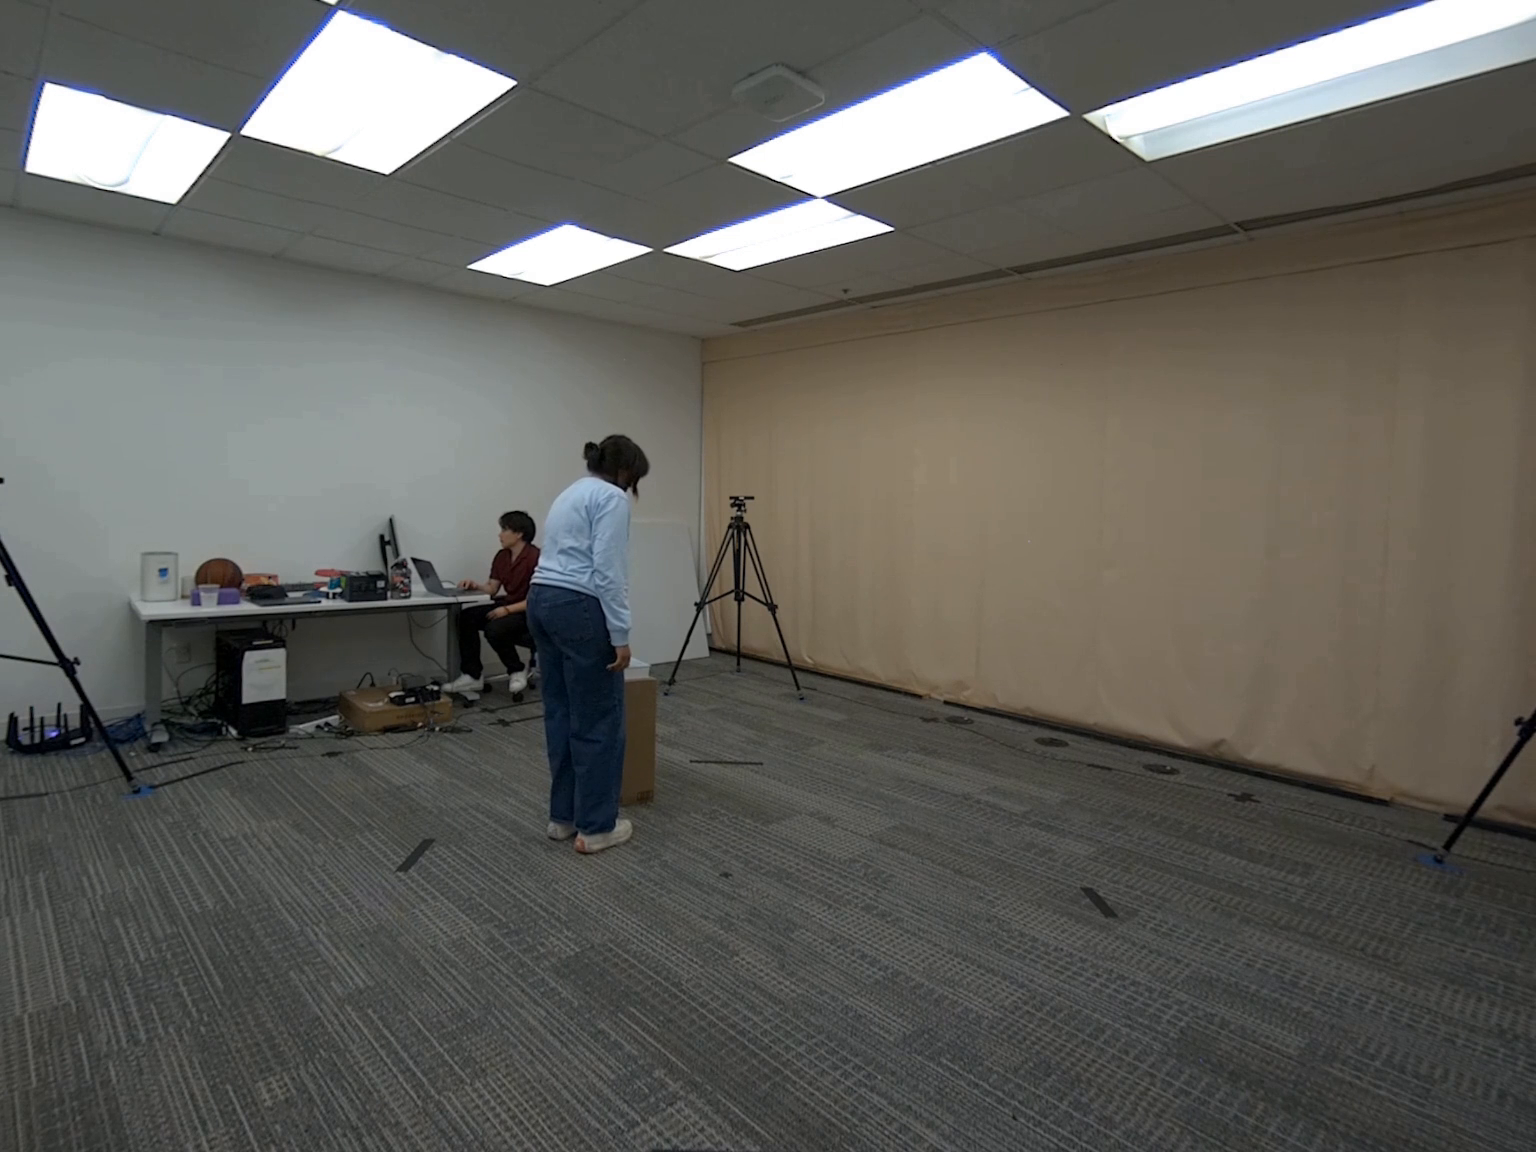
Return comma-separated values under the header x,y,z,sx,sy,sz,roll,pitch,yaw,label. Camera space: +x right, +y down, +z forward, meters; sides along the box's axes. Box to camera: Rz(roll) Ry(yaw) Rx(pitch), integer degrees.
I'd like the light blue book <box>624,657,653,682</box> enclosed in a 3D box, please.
x,y,z,sx,sy,sz,roll,pitch,yaw,label
-0.679,0.427,3.910,0.187,0.059,0.267,0,5,-31,light blue book
